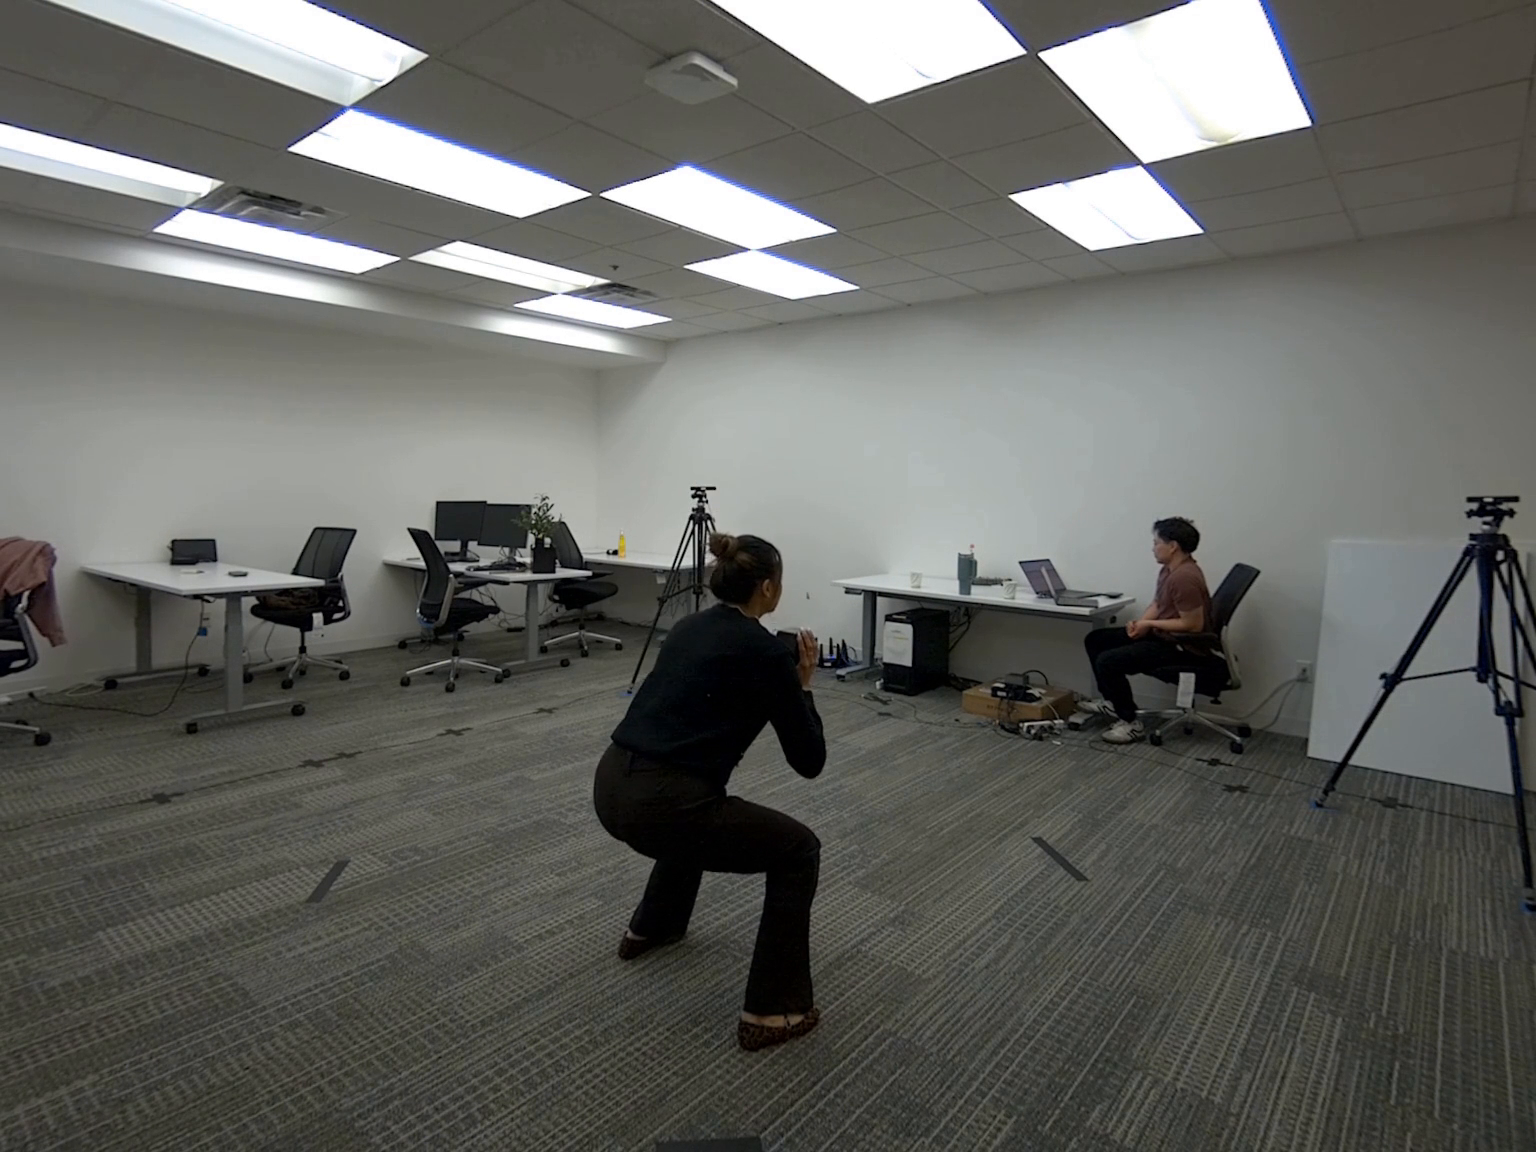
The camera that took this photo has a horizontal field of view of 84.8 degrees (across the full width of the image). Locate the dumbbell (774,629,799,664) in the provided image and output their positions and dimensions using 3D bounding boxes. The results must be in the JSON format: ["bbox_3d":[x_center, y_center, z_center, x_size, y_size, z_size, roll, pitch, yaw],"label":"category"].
[{"bbox_3d":[-0.021,0.191,2.469,0.304,0.119,0.108,7,41,41],"label":"dumbbell"}]
